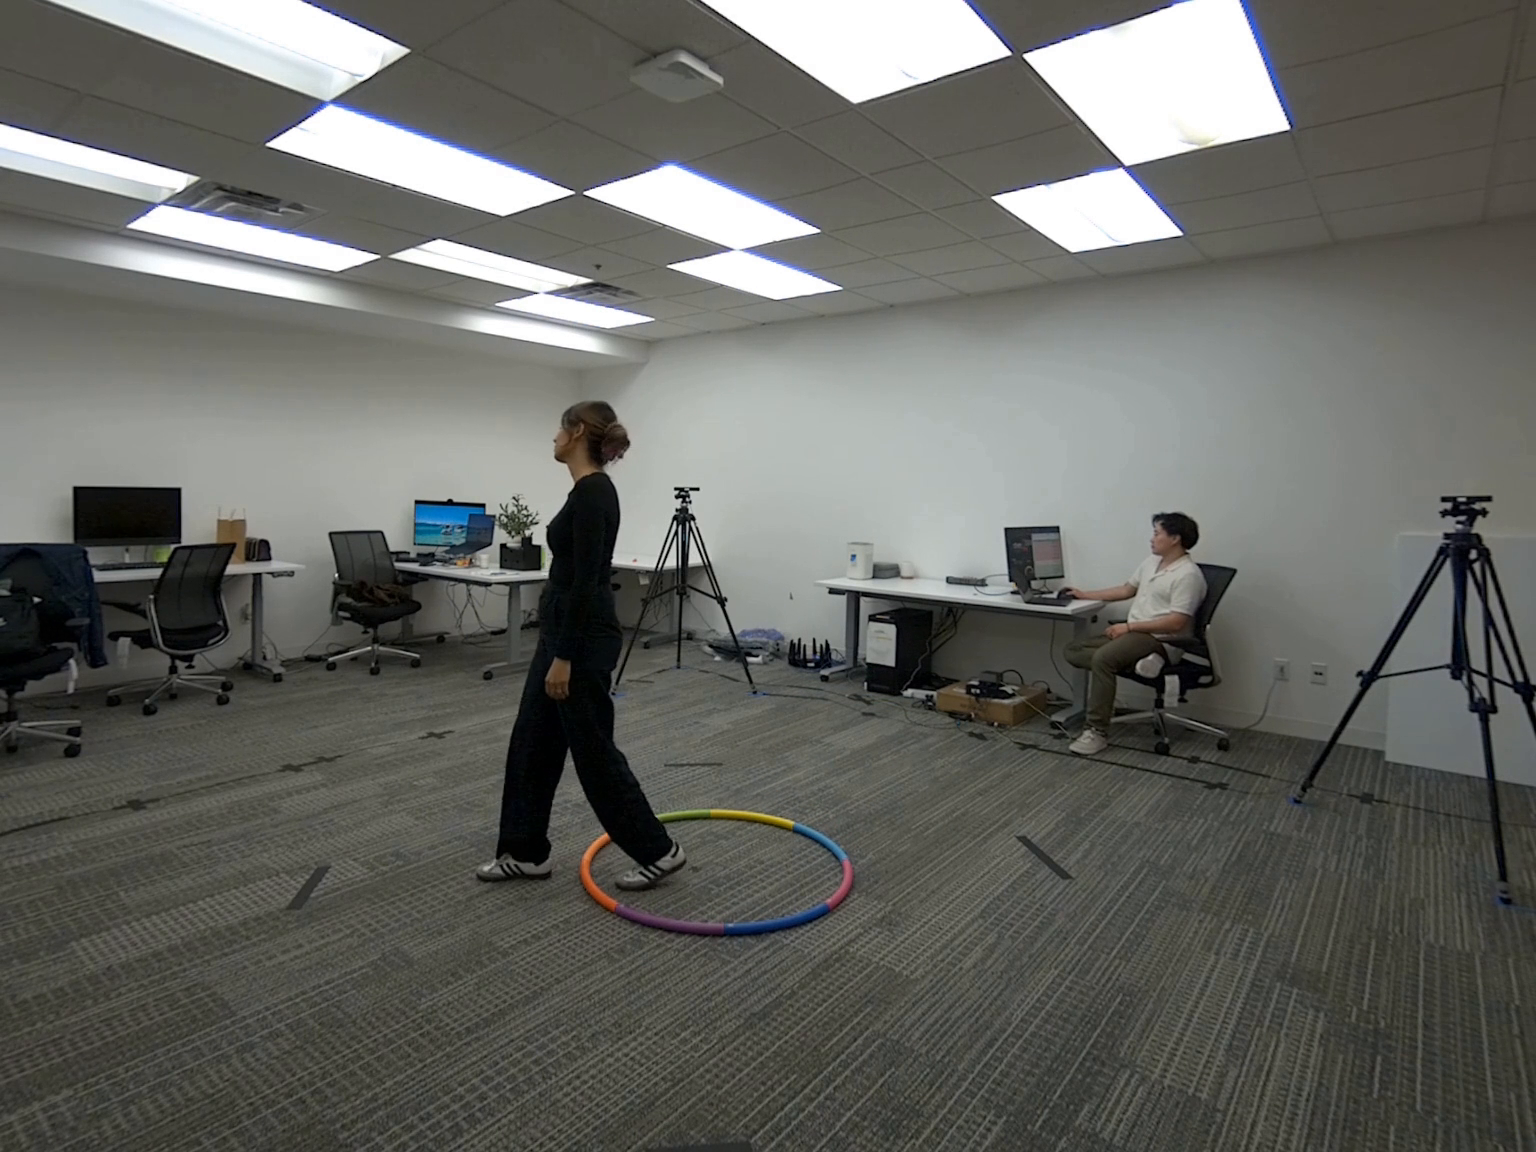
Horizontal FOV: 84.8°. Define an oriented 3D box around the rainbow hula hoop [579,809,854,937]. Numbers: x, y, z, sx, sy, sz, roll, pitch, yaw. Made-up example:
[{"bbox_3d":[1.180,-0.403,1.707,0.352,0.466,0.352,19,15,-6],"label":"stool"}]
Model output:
[{"bbox_3d":[-0.197,1.035,3.113,0.978,0.035,0.984,1,6,-2],"label":"rainbow hula hoop"}]
